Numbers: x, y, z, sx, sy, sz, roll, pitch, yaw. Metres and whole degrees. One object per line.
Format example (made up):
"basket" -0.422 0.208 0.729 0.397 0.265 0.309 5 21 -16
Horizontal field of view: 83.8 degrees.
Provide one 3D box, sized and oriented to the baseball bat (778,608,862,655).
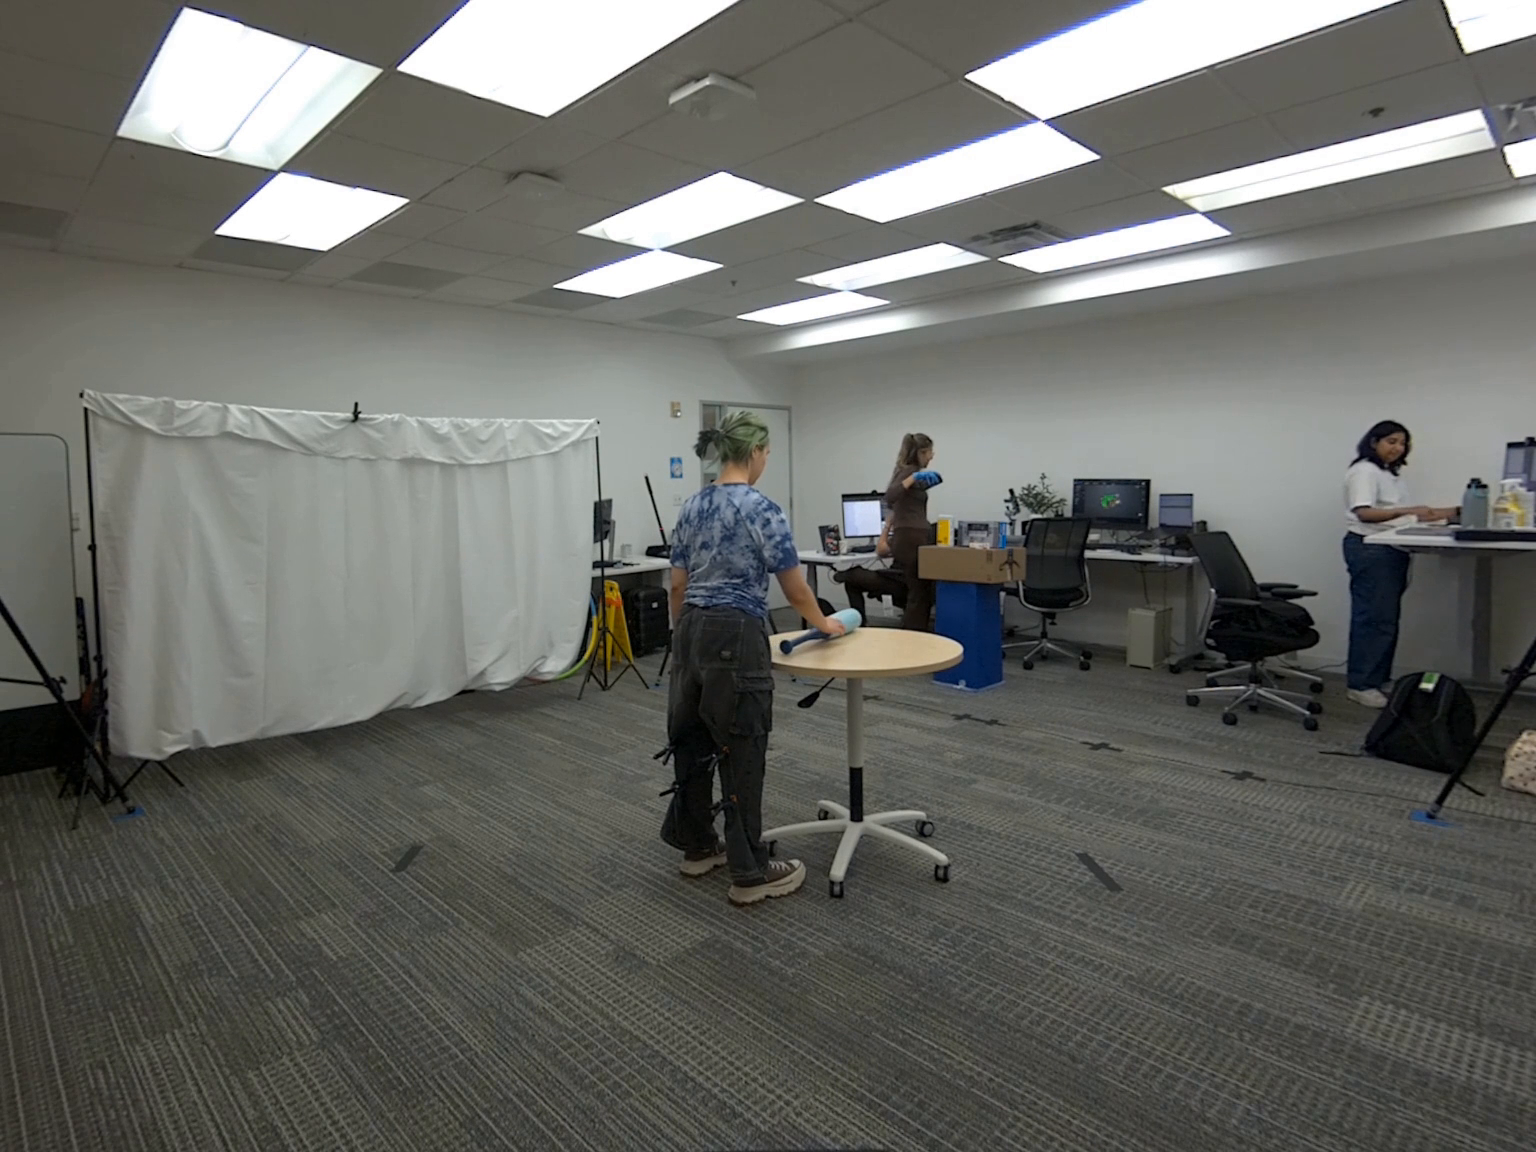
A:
"baseball bat" 0.204 0.213 3.204 0.091 0.088 0.532 2 10 33
